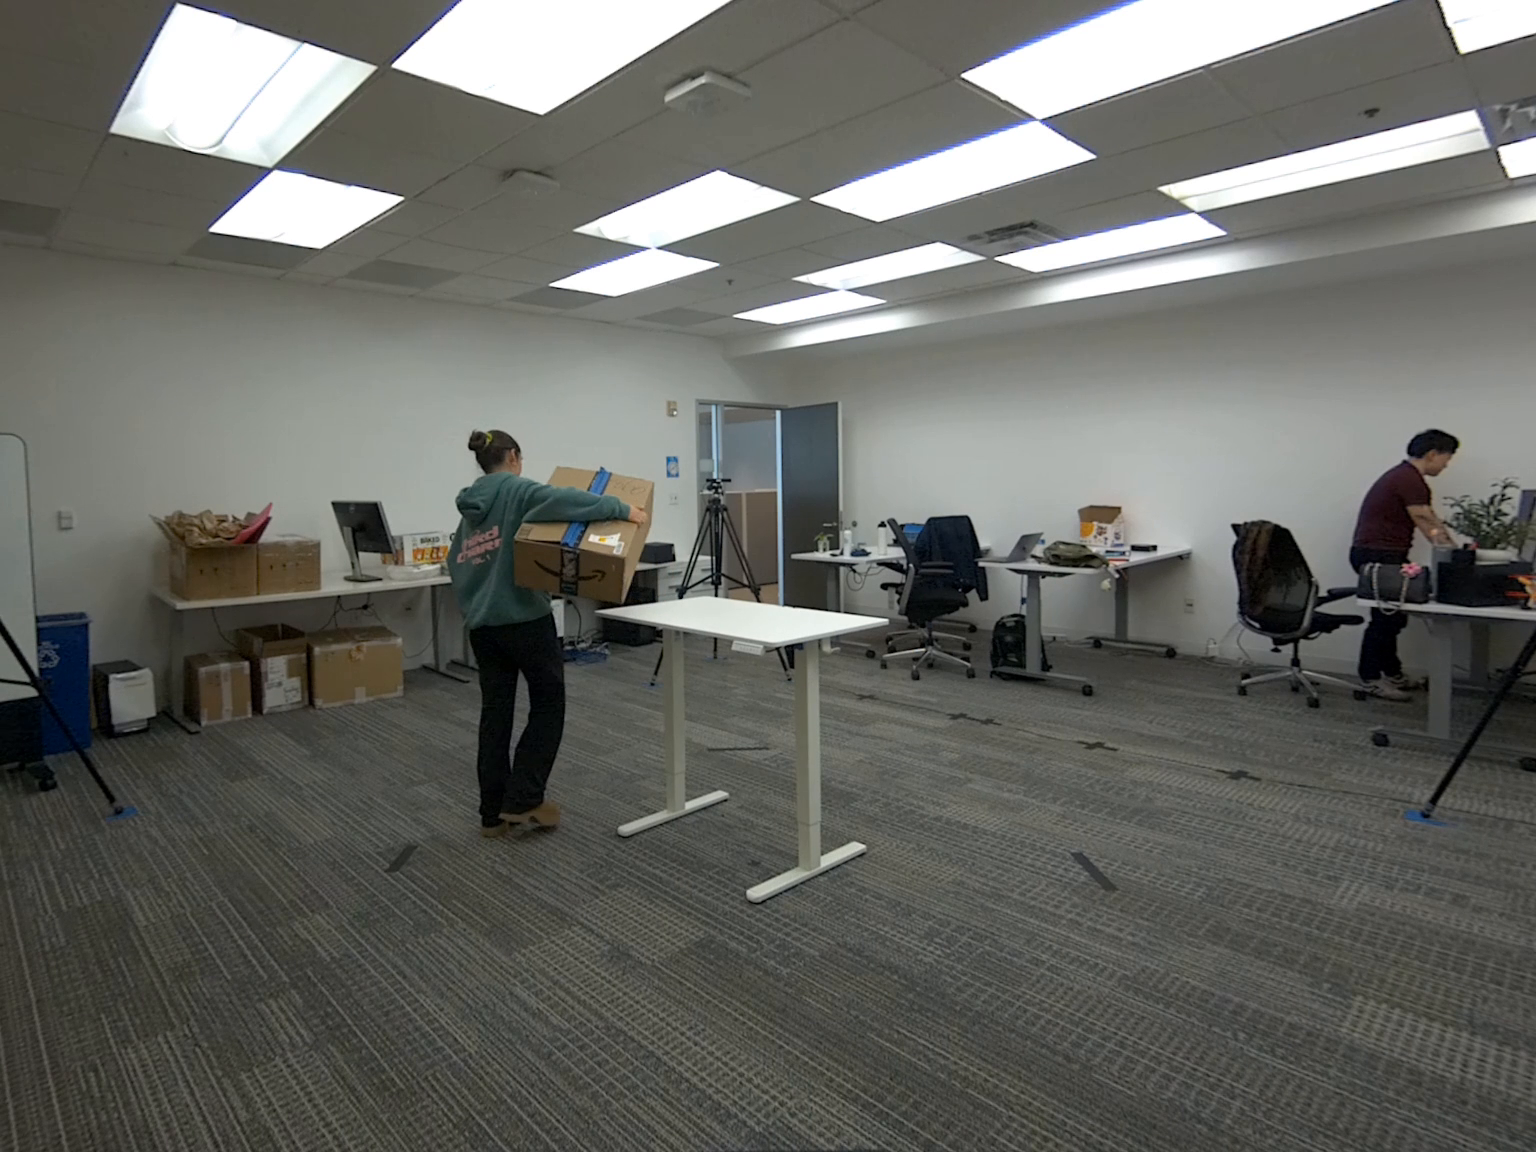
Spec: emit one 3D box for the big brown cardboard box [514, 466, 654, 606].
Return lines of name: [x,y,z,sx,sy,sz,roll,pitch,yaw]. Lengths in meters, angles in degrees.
big brown cardboard box: [-0.701,-0.170,3.346,0.418,0.228,0.601,7,34,0]
